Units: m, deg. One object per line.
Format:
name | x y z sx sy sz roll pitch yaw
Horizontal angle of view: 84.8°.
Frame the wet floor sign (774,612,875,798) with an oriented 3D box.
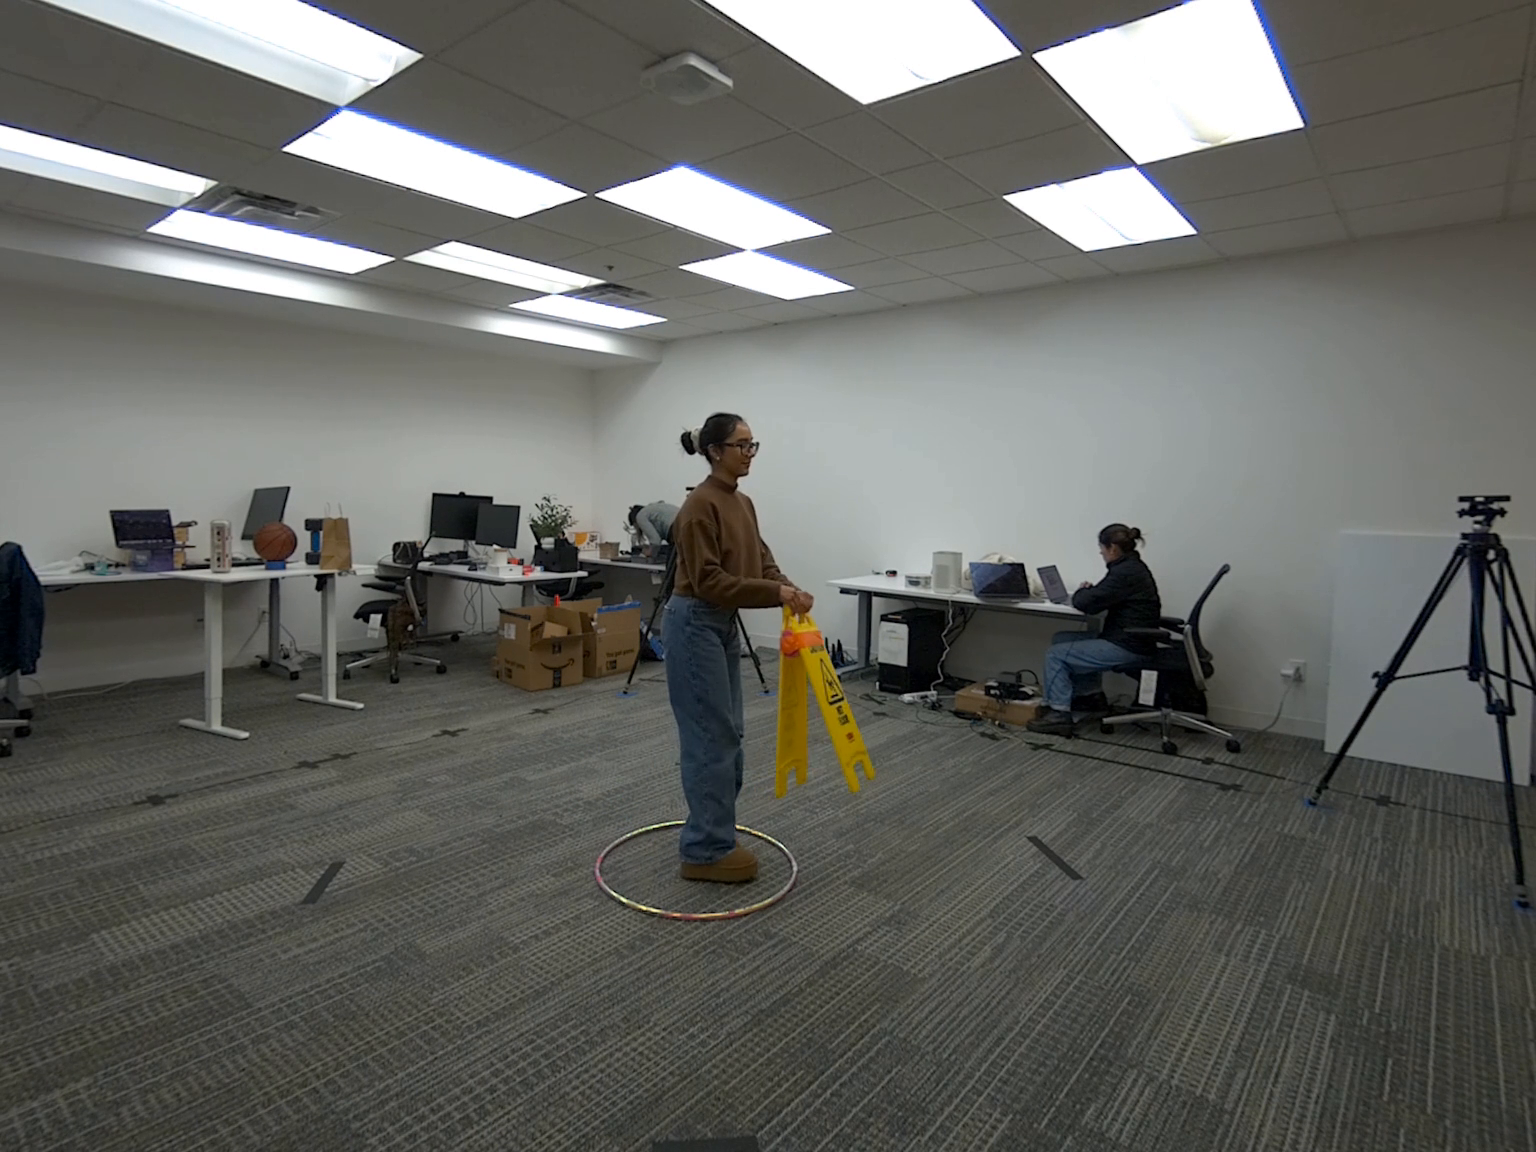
wet floor sign | 0.132 0.407 2.964 0.295 0.651 0.275 -12 -7 23
